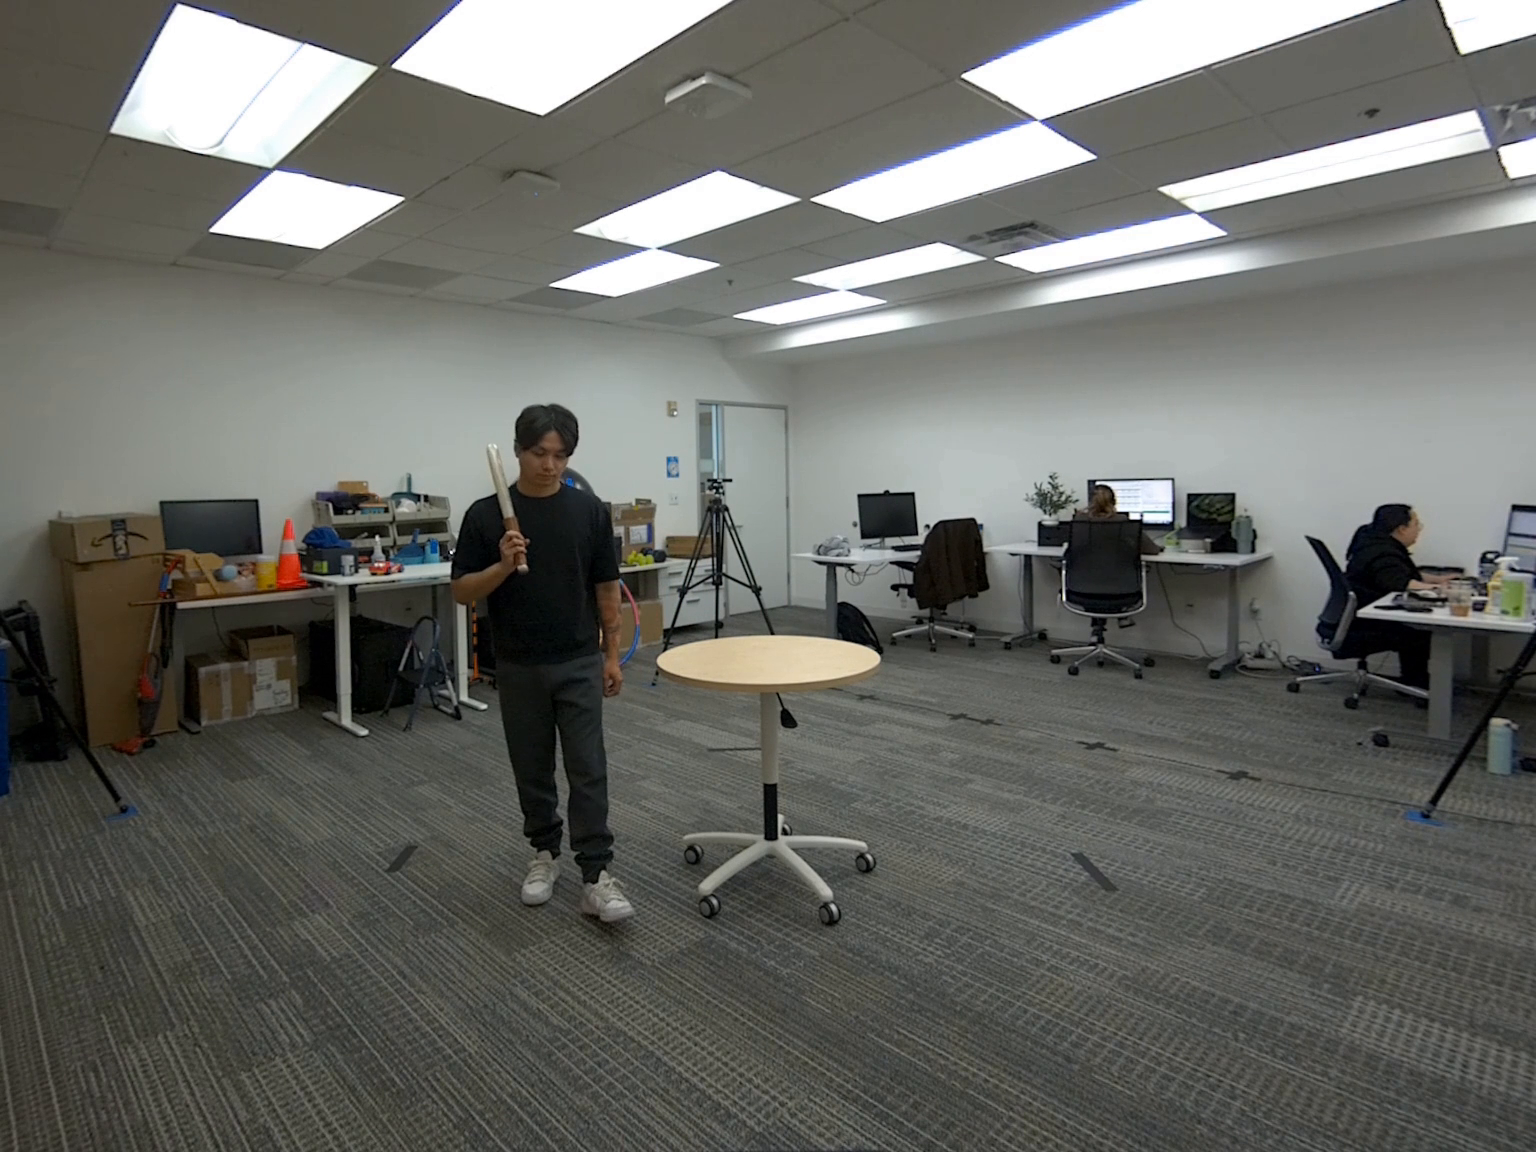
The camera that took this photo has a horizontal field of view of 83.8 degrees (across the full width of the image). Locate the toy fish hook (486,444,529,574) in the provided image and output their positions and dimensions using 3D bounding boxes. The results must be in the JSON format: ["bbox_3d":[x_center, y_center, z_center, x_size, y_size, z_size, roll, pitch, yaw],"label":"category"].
[{"bbox_3d":[-0.850,-0.204,2.798,0.048,0.521,0.220,-15,-26,-10],"label":"toy fish hook"}]
